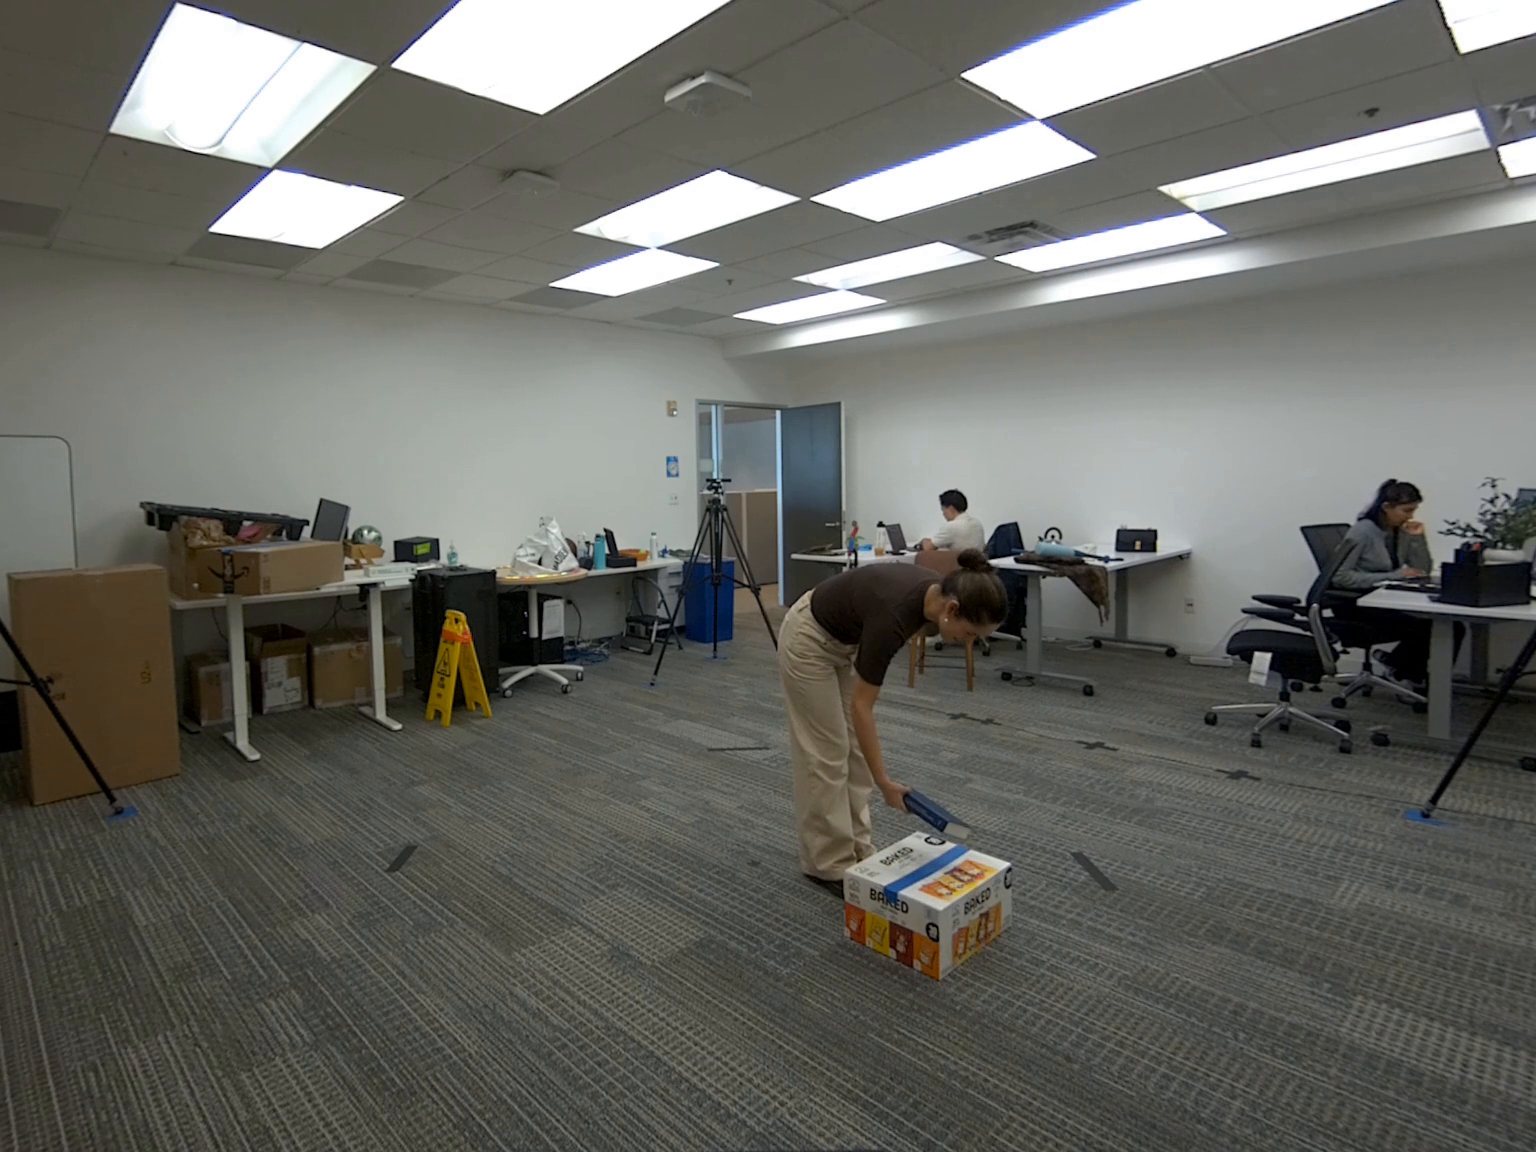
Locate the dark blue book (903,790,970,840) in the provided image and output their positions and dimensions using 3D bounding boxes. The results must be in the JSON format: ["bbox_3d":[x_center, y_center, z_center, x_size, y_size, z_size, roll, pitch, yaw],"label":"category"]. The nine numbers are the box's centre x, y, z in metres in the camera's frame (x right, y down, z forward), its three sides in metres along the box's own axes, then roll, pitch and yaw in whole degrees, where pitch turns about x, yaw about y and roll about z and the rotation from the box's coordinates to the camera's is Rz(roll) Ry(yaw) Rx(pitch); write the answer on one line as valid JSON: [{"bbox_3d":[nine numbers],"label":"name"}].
[{"bbox_3d":[0.505,0.730,2.645,0.157,0.045,0.254,28,-2,-42],"label":"dark blue book"}]
